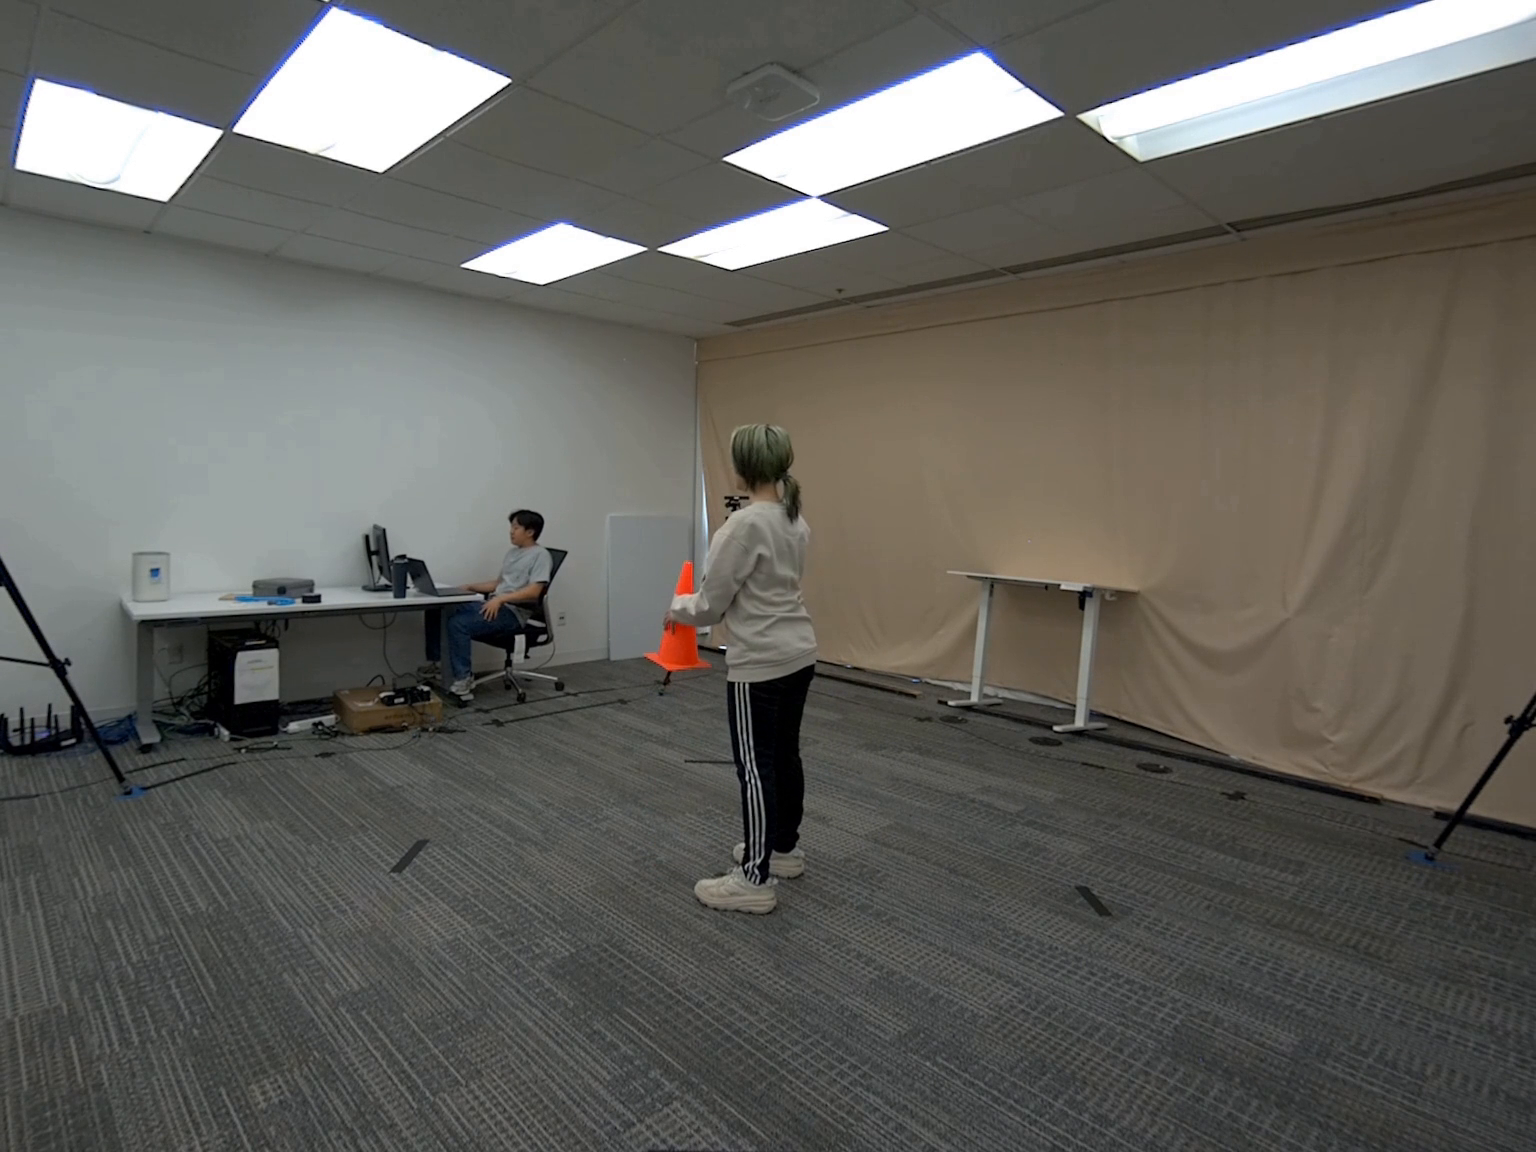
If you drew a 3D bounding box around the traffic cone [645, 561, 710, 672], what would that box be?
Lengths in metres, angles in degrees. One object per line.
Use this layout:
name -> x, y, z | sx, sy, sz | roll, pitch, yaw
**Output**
traffic cone -> -0.320, 0.140, 3.182 | 0.200, 0.382, 0.209 | 0, 10, -41
